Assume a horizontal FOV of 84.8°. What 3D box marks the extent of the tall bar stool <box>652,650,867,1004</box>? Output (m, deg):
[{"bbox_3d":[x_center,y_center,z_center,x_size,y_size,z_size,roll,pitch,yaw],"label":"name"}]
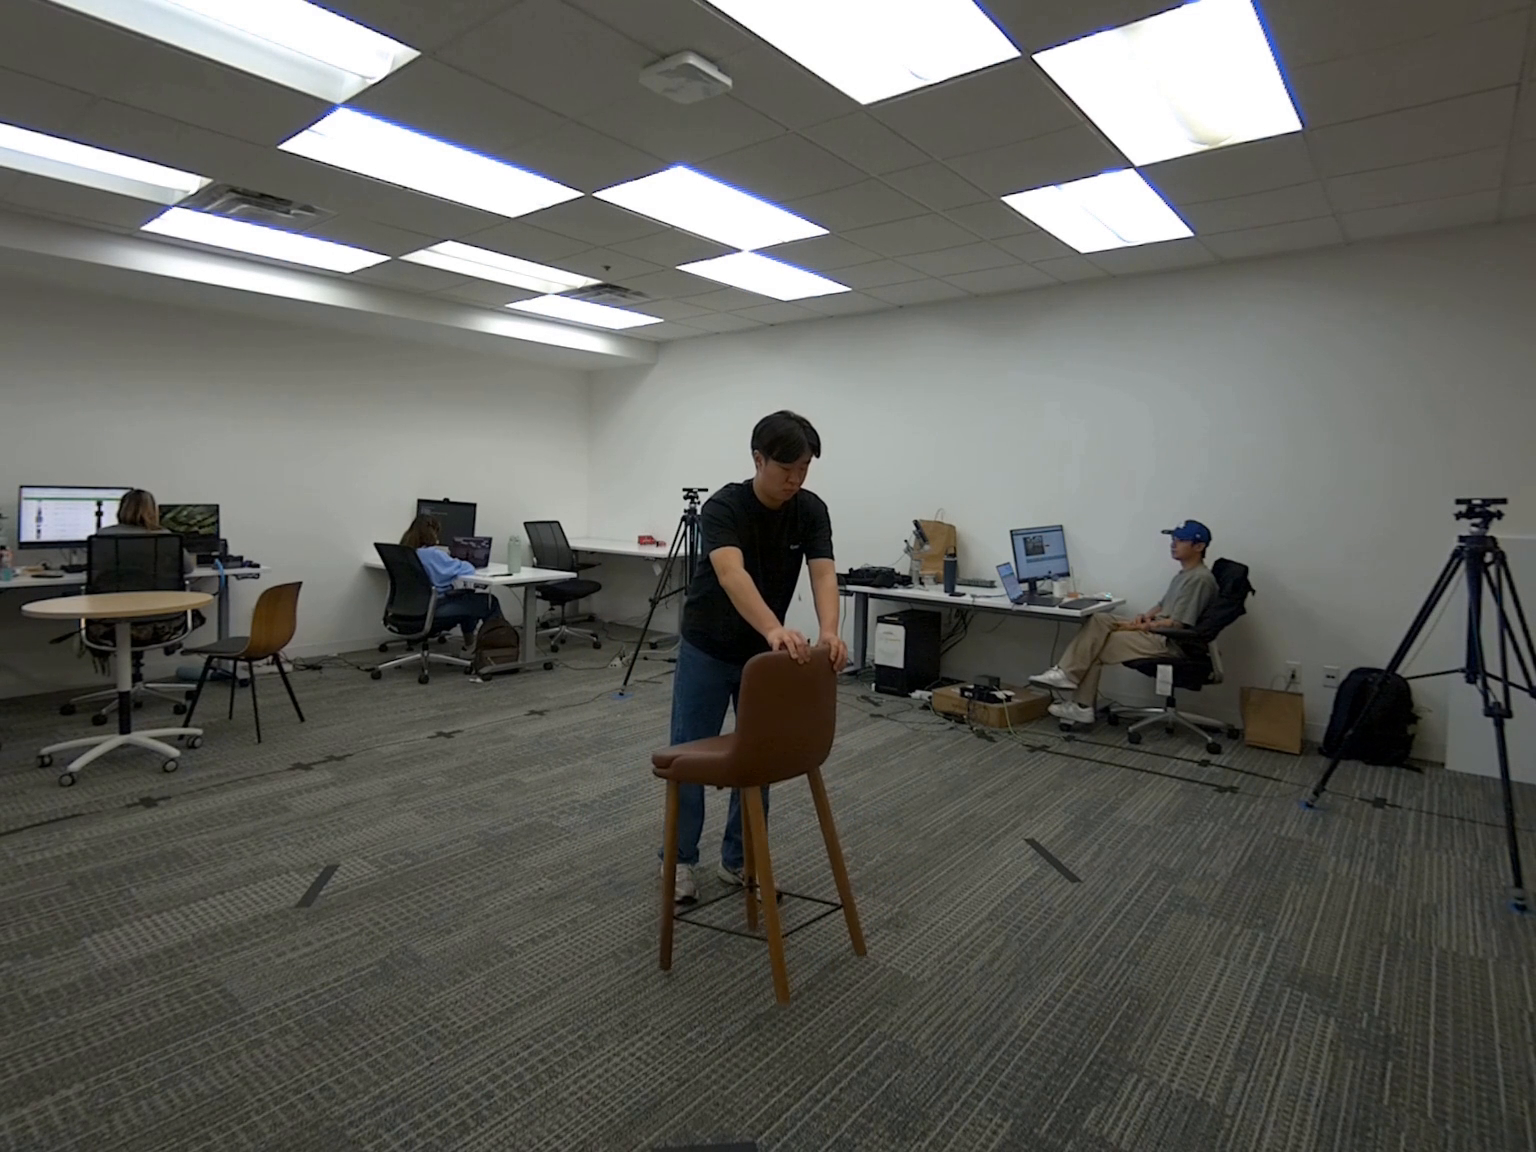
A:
[{"bbox_3d":[-0.046,0.656,2.457,0.480,0.894,0.442,-8,-6,42],"label":"tall bar stool"}]
